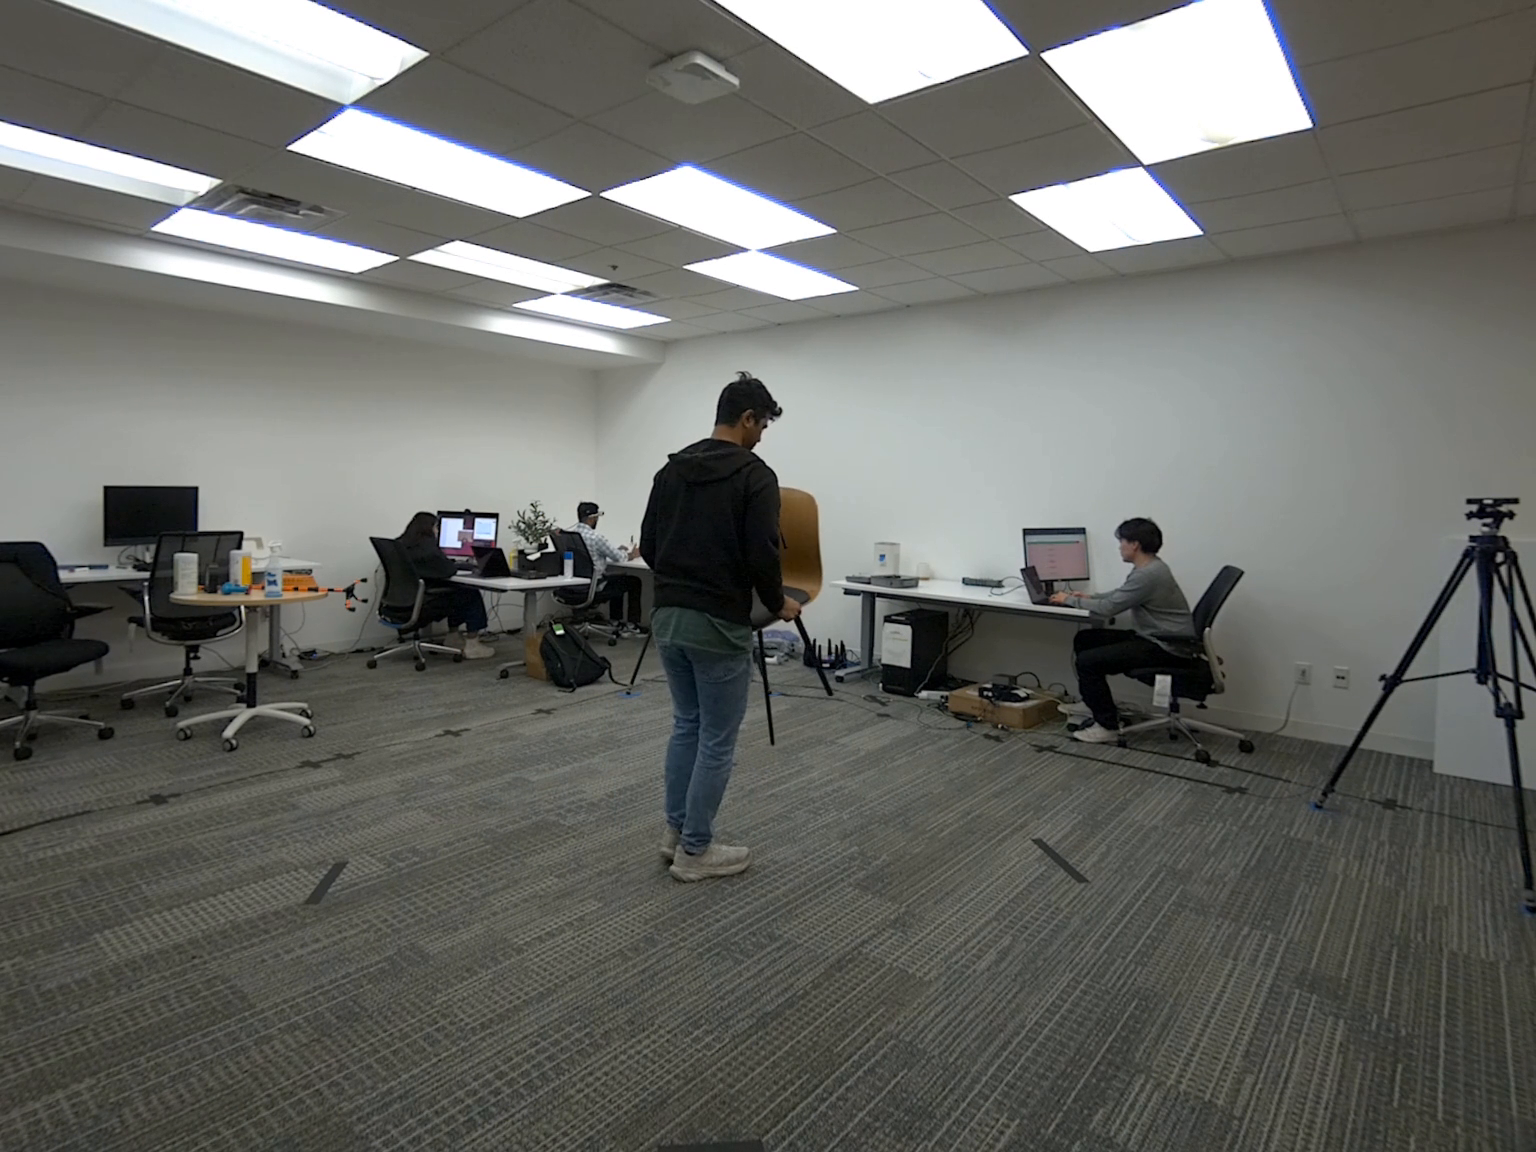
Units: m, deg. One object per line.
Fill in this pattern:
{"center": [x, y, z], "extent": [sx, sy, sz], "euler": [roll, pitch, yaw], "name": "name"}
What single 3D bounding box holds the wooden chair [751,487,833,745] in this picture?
{"center": [-0.081, 0.127, 3.308], "extent": [0.494, 0.865, 0.513], "euler": [10, 18, 34], "name": "wooden chair"}
